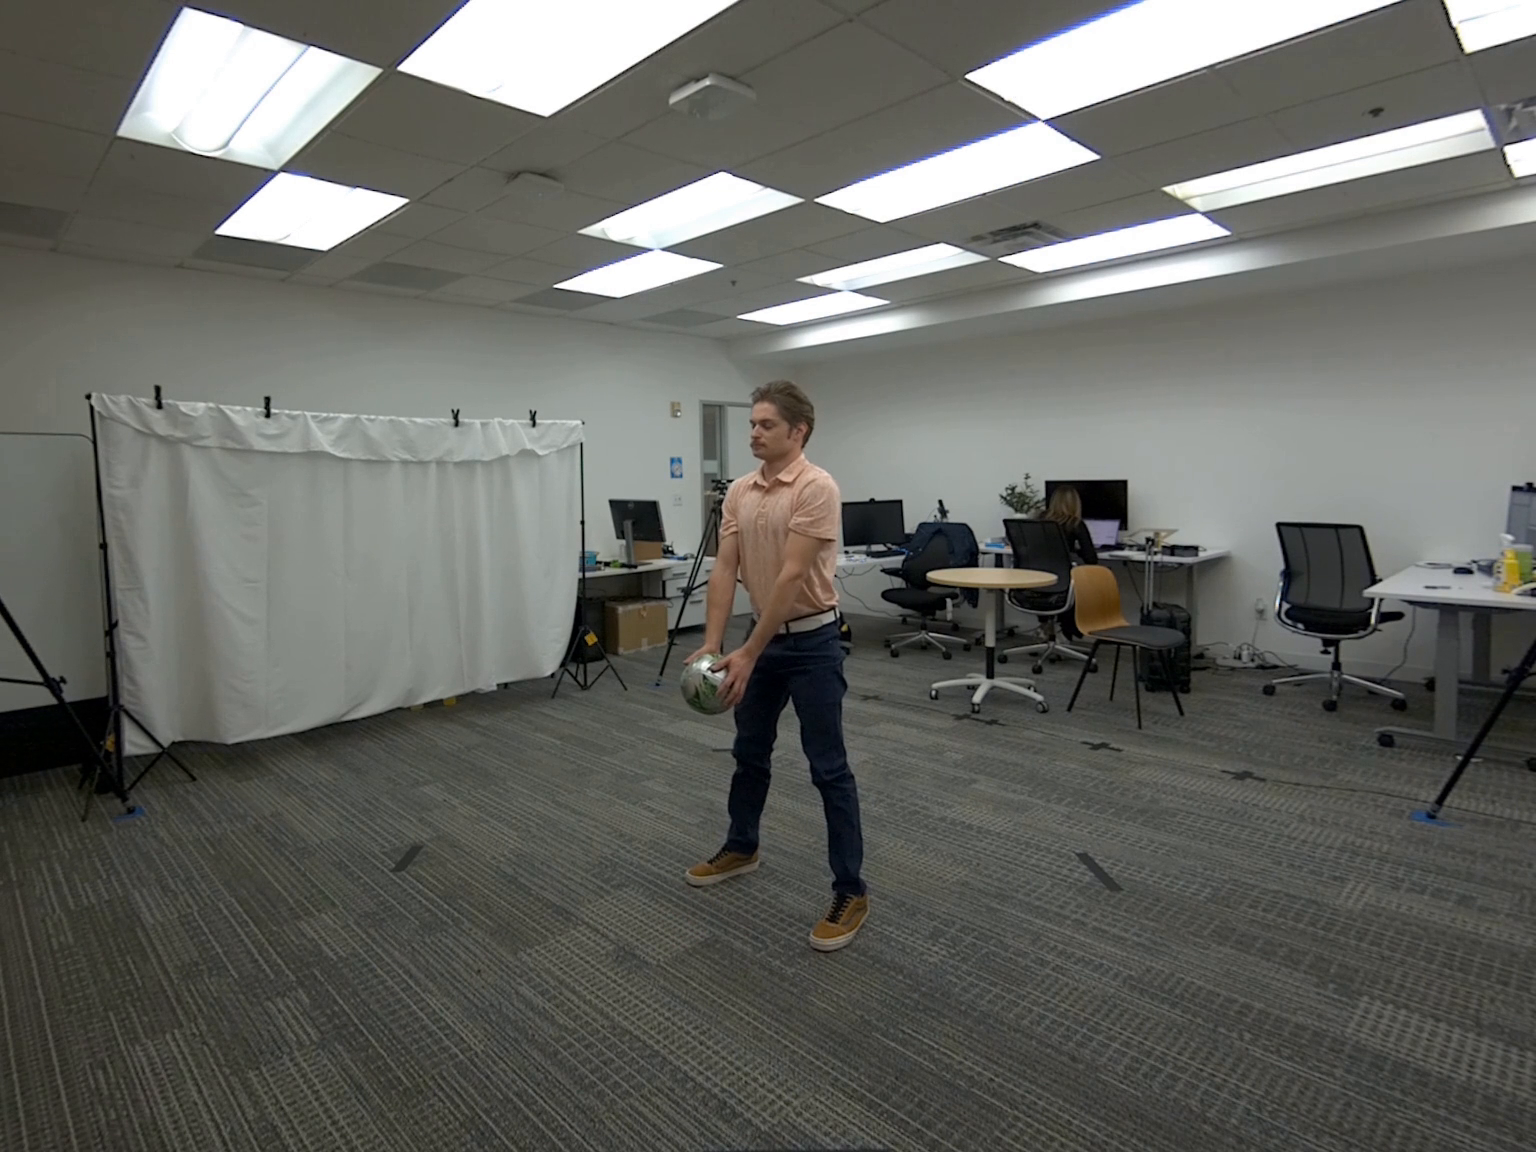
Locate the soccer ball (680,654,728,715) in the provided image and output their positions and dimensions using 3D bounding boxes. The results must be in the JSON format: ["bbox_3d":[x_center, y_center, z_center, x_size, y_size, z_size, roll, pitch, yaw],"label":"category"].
[{"bbox_3d":[-0.175,0.330,2.607,0.187,0.187,0.188,-1,5,-2],"label":"soccer ball"}]
